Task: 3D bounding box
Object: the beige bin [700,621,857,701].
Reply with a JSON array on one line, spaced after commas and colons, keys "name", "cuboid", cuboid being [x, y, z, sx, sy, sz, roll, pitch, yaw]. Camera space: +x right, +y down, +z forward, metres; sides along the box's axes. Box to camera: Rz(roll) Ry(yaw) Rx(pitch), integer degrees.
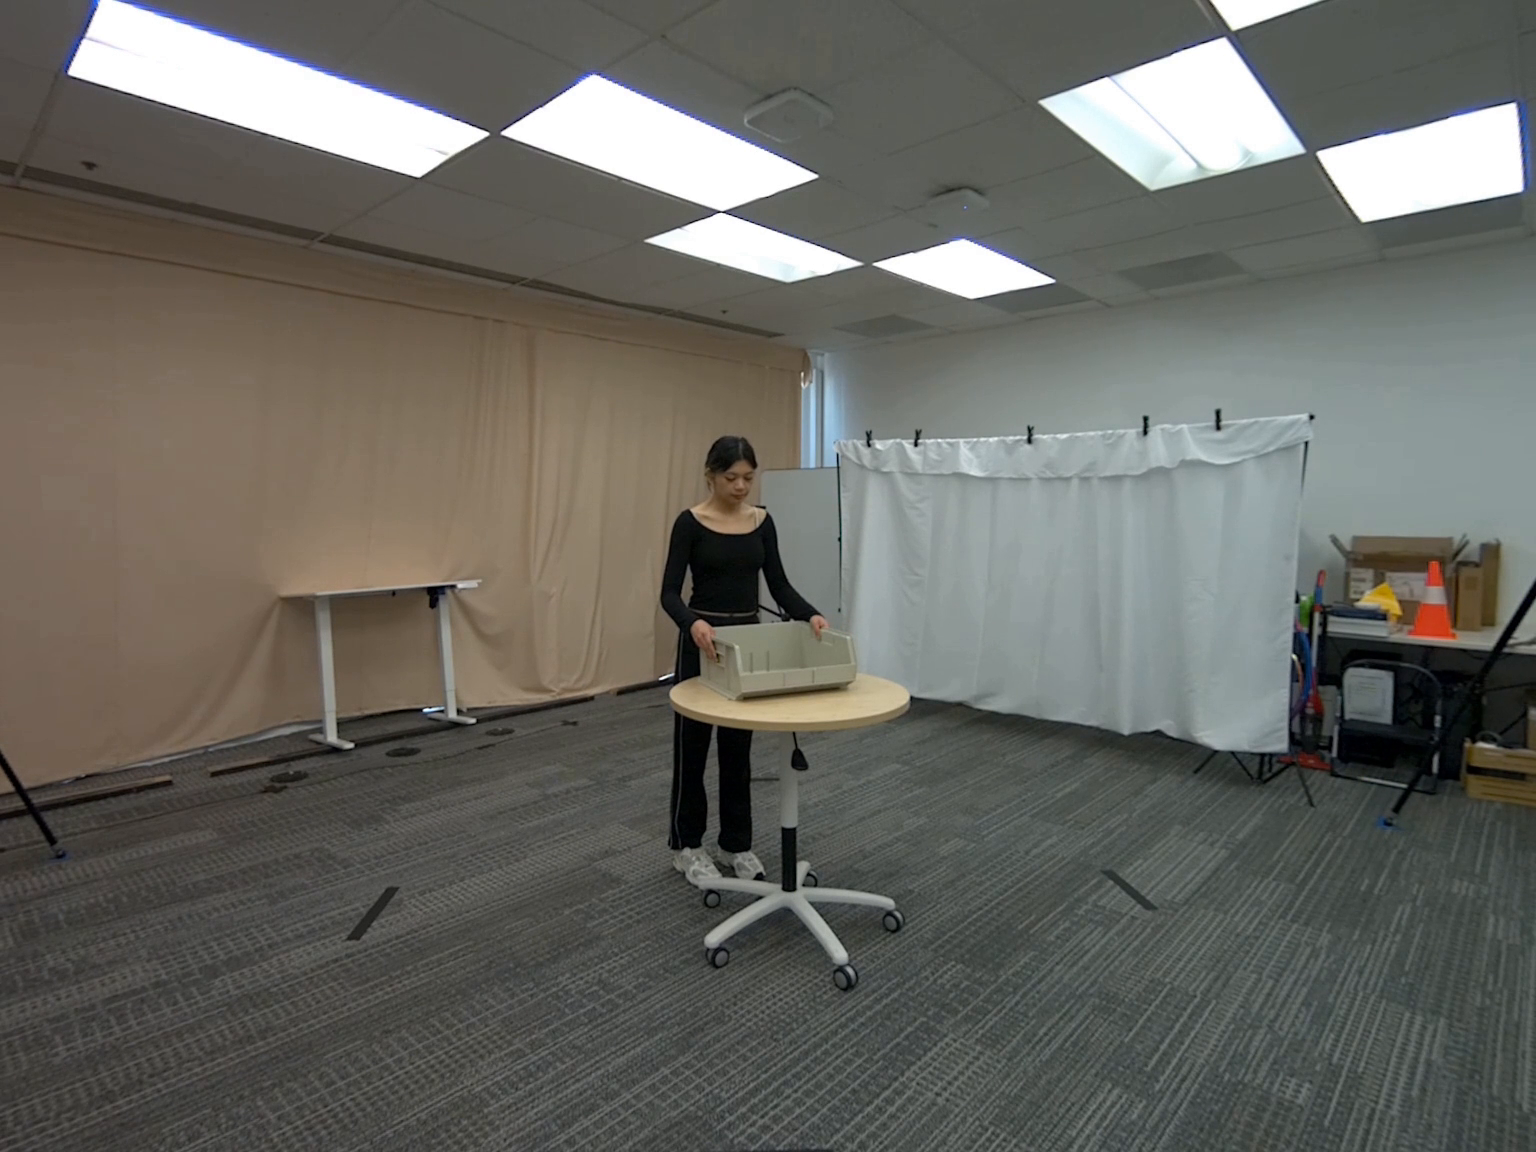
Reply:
[{"name": "beige bin", "cuboid": [0.024, 0.276, 2.782, 0.413, 0.188, 0.387, -4, 5, -24]}]
